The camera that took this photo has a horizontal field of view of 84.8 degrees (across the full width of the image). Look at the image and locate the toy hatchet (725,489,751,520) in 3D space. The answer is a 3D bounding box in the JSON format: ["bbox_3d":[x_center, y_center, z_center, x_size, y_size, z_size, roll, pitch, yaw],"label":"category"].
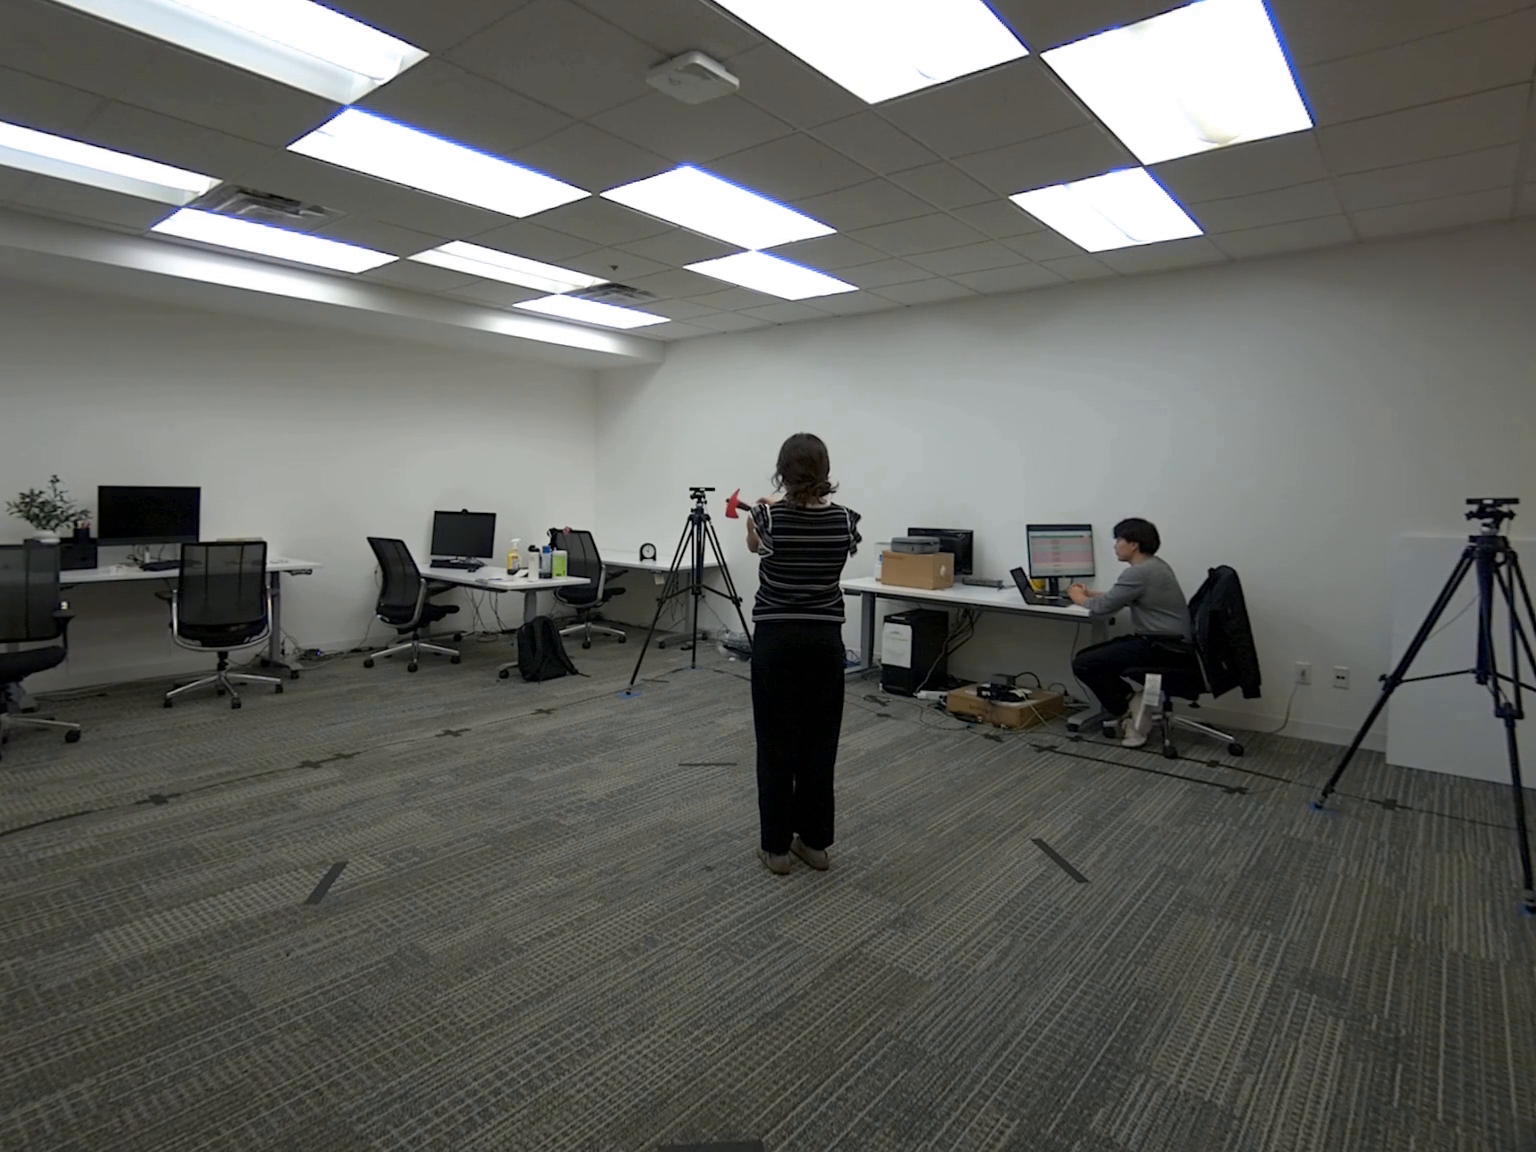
[{"bbox_3d":[-0.085,-0.245,3.660,0.266,0.131,0.030,42,9,-9],"label":"toy hatchet"}]
